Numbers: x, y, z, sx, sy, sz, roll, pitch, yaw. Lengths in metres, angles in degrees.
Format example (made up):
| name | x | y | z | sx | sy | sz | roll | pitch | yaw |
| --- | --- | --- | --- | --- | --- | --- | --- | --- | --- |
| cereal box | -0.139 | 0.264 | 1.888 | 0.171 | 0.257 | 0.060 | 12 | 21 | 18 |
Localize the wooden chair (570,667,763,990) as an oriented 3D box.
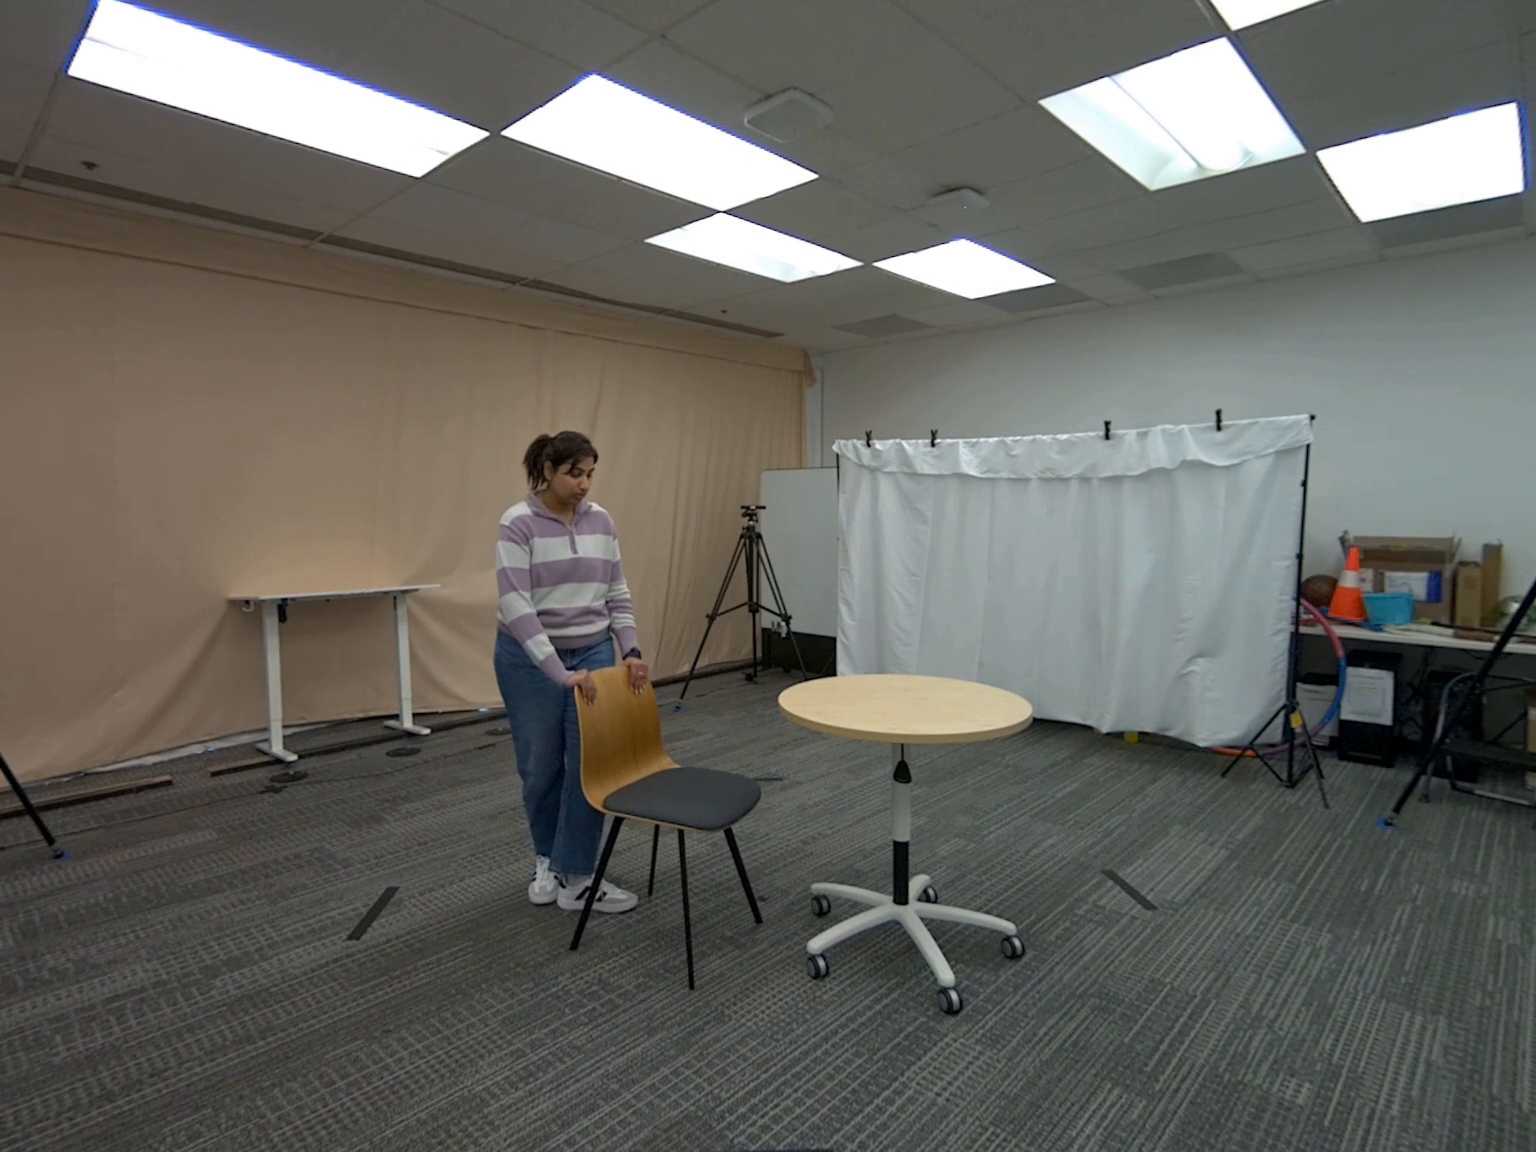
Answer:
| name | x | y | z | sx | sy | sz | roll | pitch | yaw |
| --- | --- | --- | --- | --- | --- | --- | --- | --- | --- |
| wooden chair | -0.307 | 0.740 | 2.692 | 0.537 | 0.877 | 0.466 | -4 | 1 | 28 |
